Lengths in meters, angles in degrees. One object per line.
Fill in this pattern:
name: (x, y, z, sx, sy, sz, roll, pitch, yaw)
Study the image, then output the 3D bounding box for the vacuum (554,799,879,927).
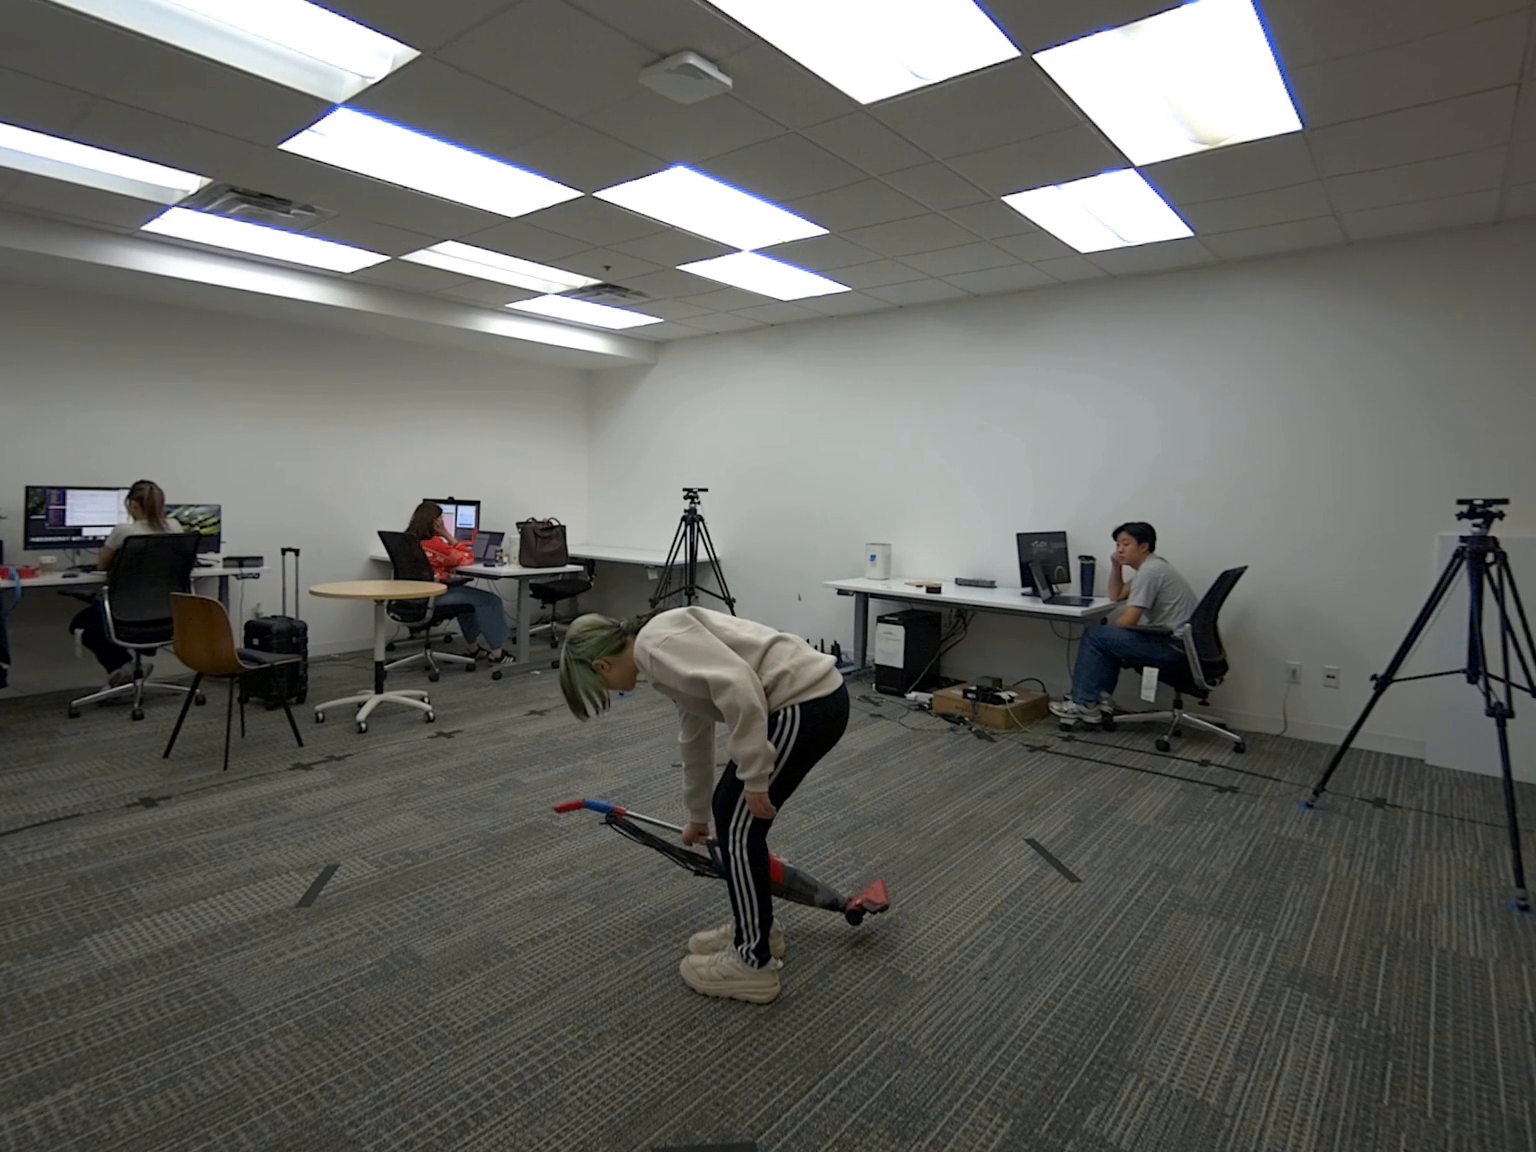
vacuum: (-0.206, 0.894, 2.745, 1.061, 0.144, 0.249, 14, -2, 8)
